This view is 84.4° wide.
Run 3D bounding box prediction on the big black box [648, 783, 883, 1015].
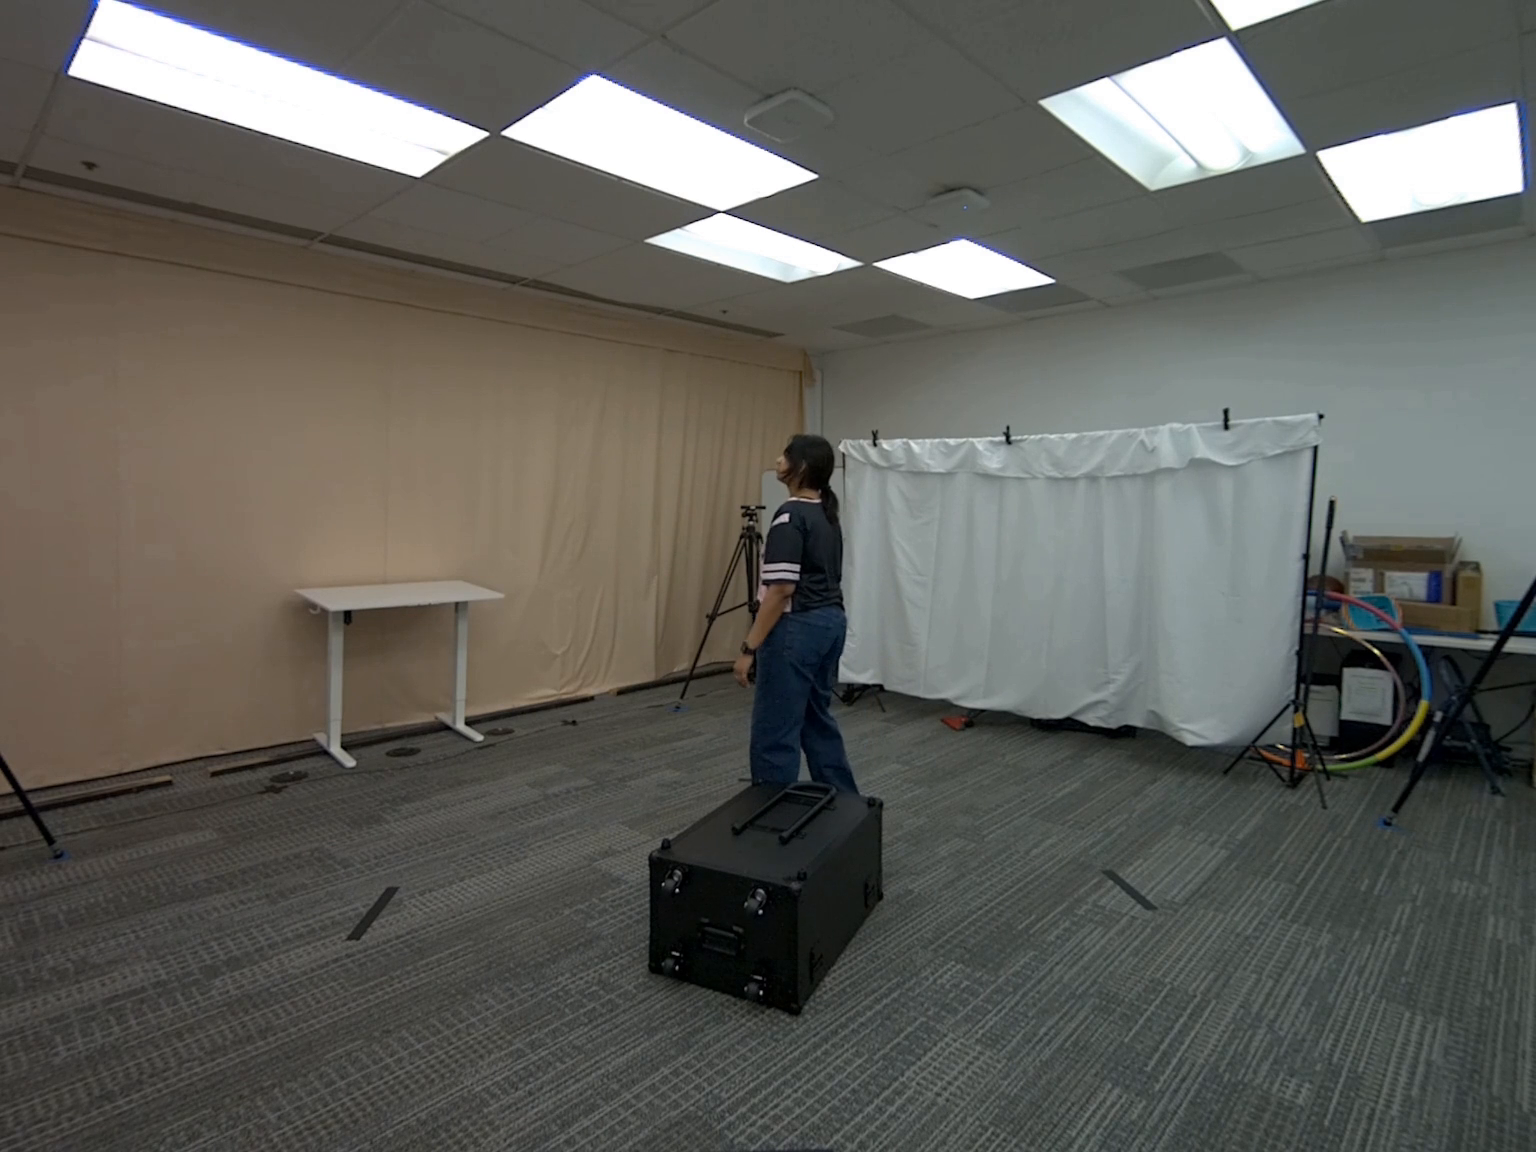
[{"bbox_3d":[0.018,0.980,2.703,0.537,0.384,0.848,3,6,25],"label":"big black box"}]
